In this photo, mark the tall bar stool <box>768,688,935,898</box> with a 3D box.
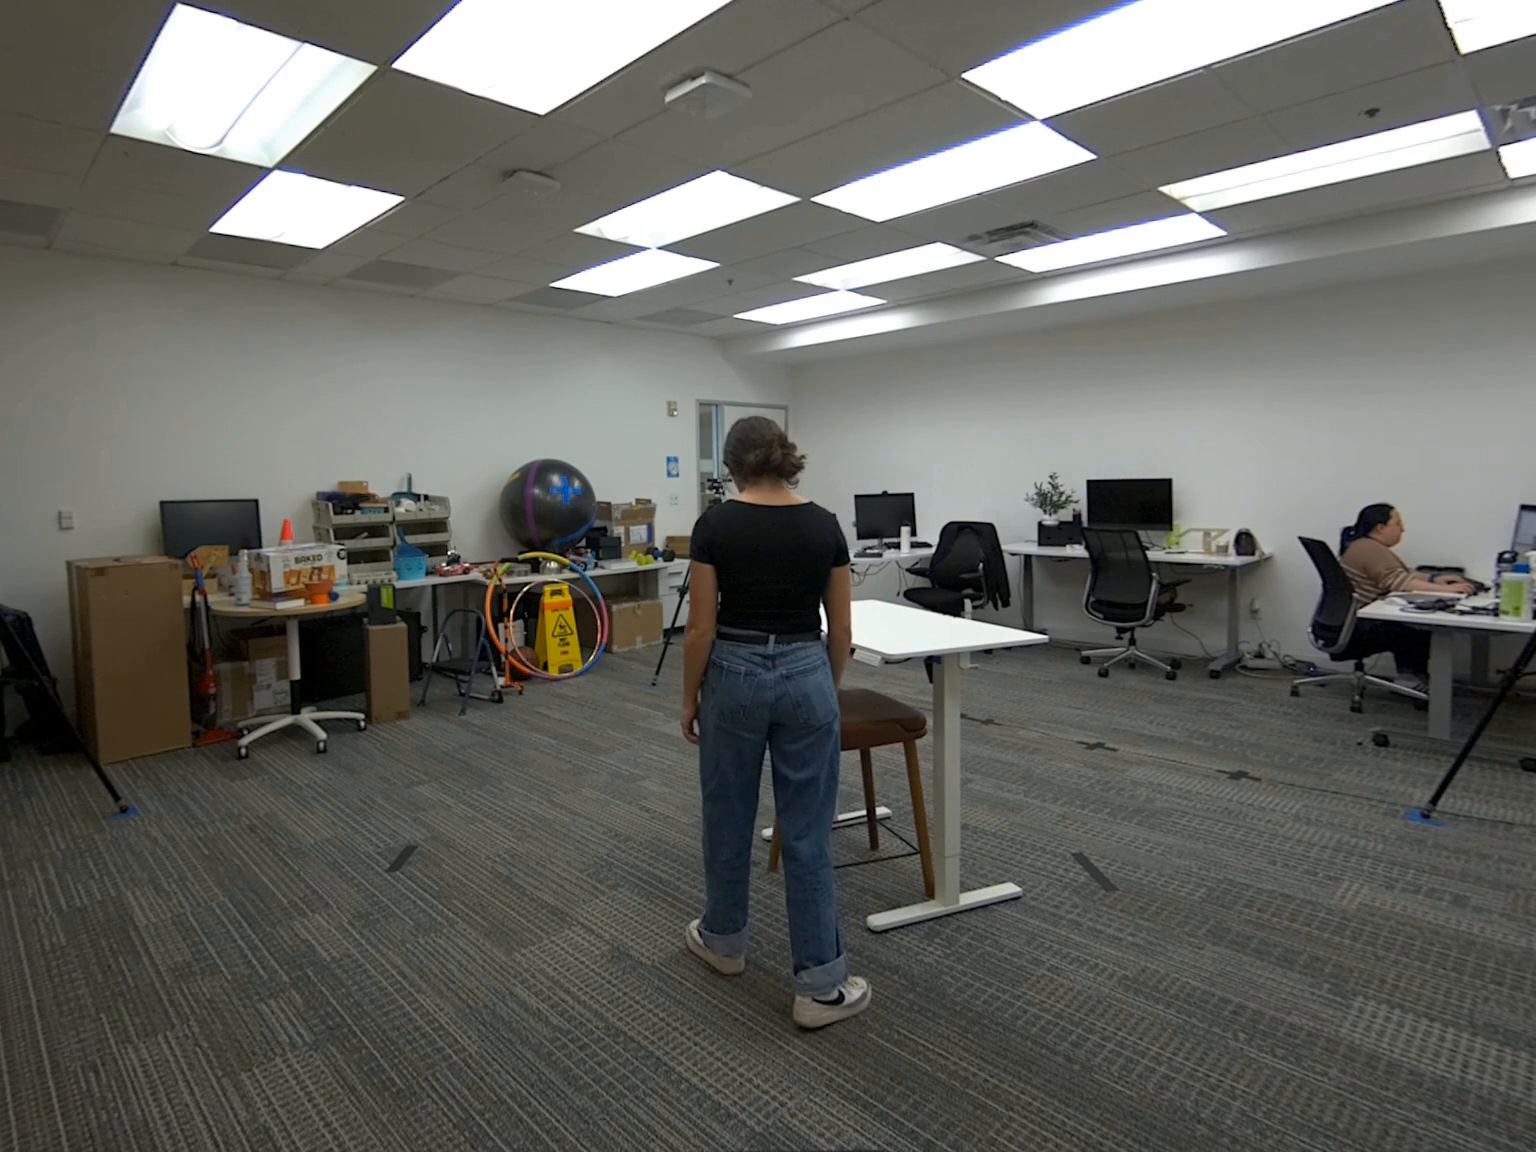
[{"bbox_3d":[0.269,0.634,2.924,0.460,0.886,0.466,-4,5,-20],"label":"tall bar stool"}]
